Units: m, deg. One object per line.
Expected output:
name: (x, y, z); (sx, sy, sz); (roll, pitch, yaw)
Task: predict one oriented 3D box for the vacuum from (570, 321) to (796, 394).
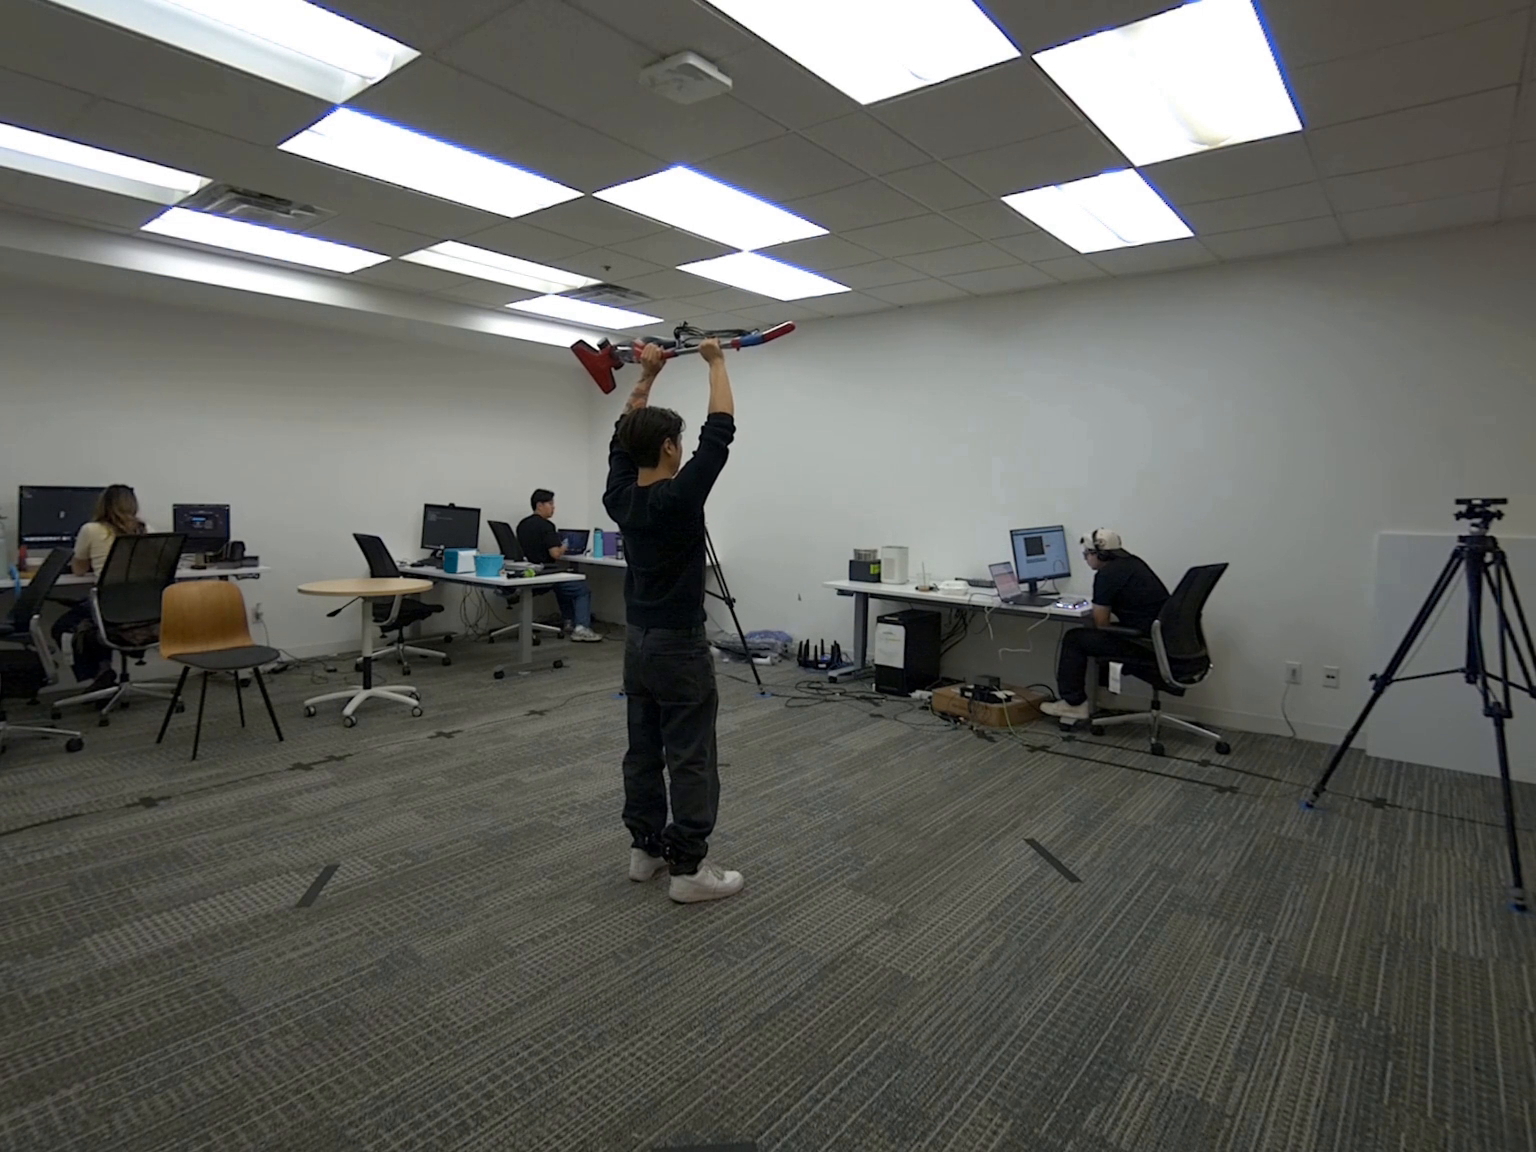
vacuum: (-0.315, -0.852, 3.115); (1.085, 0.145, 0.243); (5, -38, 44)
